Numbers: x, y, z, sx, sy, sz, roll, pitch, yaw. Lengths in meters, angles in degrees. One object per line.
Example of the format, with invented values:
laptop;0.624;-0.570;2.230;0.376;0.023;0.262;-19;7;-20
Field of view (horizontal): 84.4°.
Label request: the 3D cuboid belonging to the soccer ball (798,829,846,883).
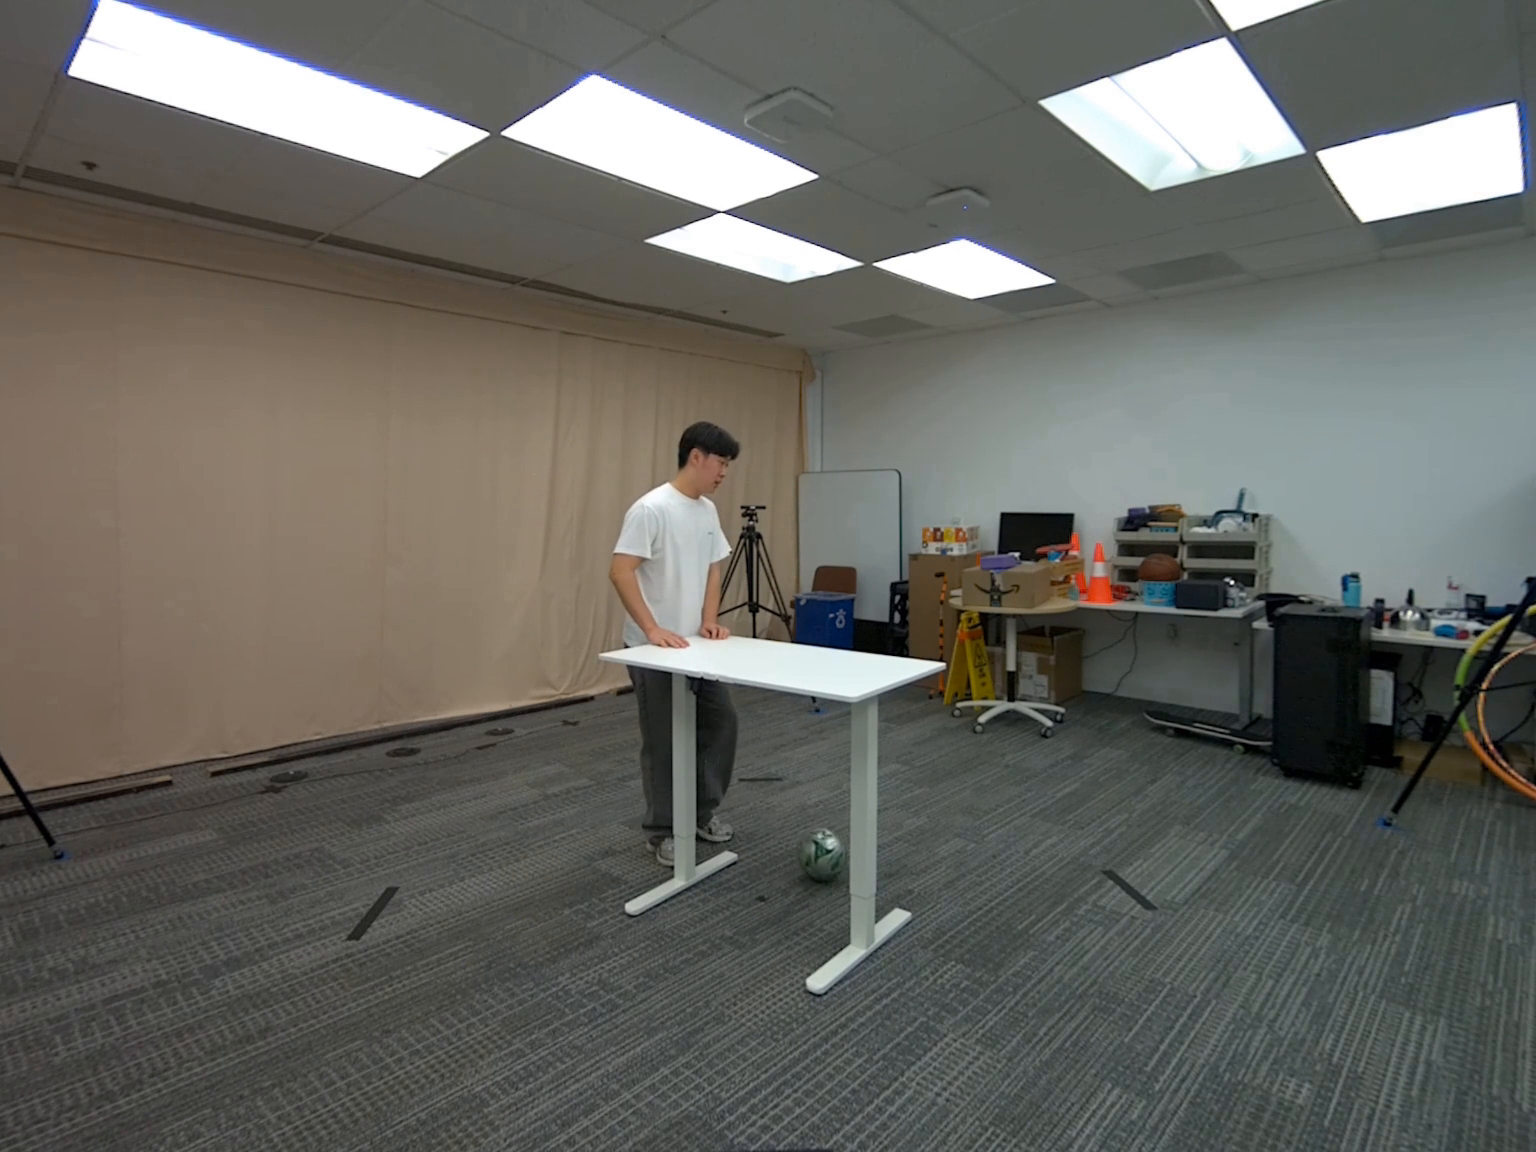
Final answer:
soccer ball;0.210;1.038;3.131;0.187;0.187;0.188;0;4;-2
